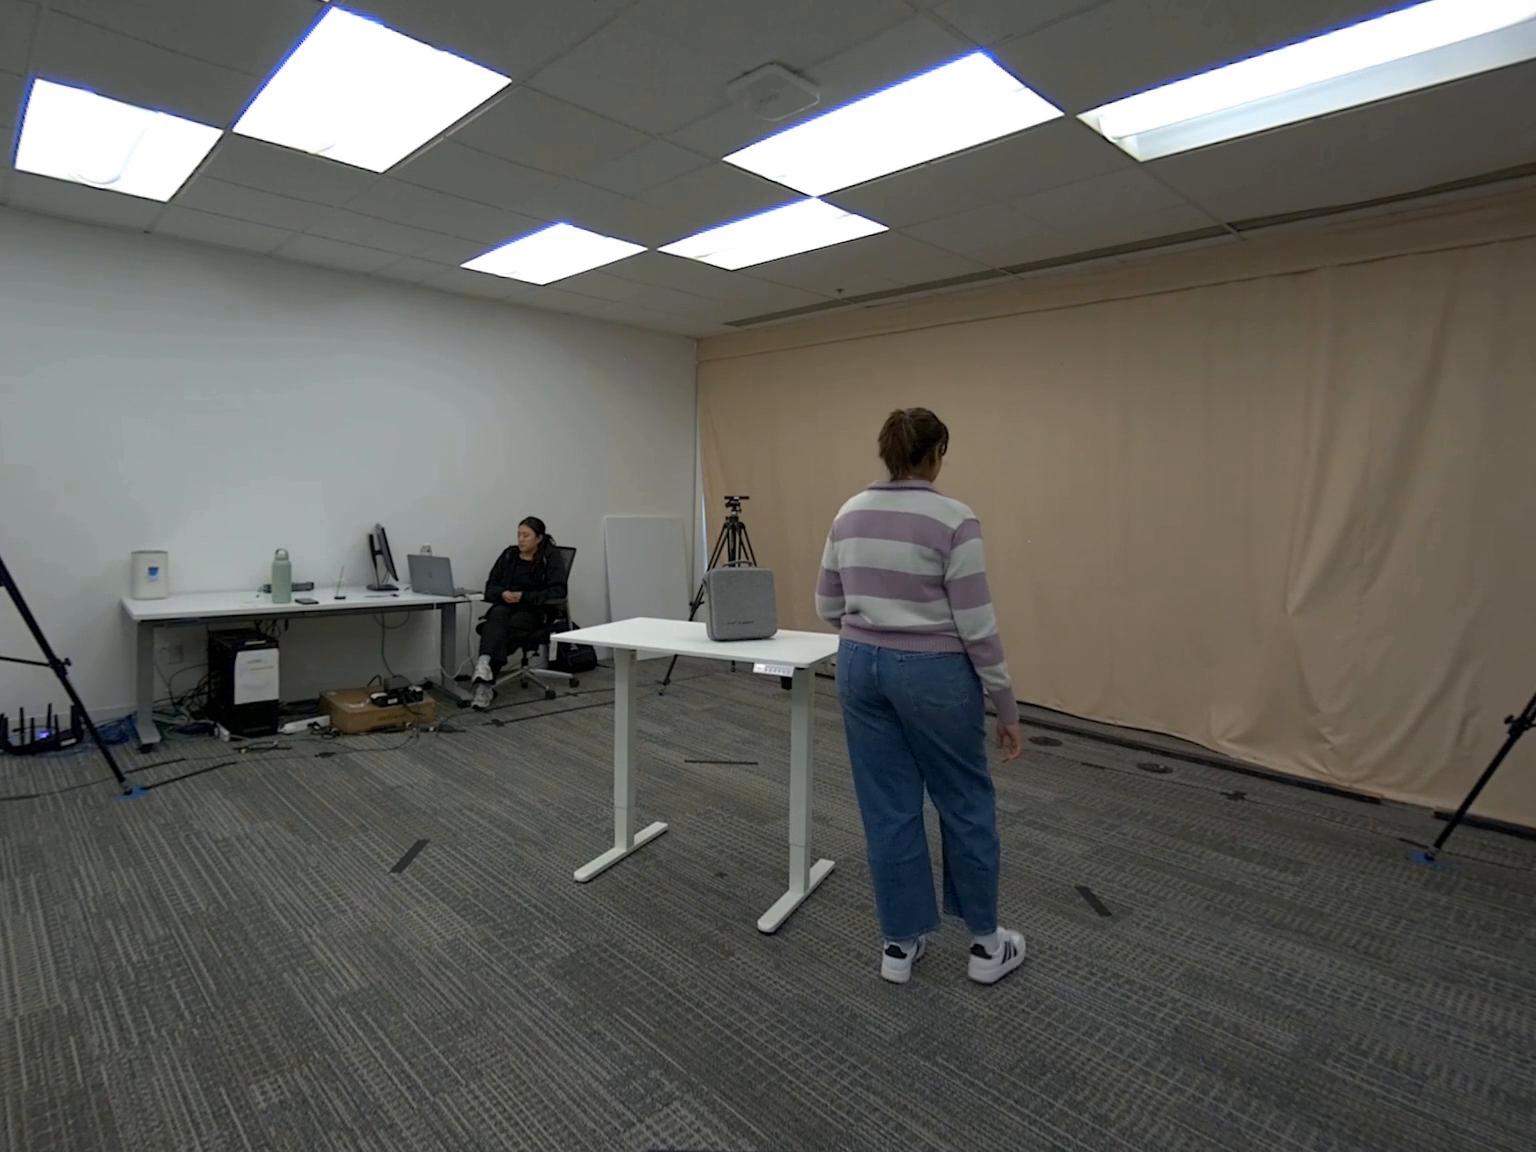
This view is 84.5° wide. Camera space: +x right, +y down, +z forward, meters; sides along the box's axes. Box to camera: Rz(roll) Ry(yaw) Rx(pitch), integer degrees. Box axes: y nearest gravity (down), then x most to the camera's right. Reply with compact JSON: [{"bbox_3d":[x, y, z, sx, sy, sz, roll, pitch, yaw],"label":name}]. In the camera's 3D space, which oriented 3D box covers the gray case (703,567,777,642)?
[{"bbox_3d":[-0.107,0.095,3.027,0.253,0.262,0.105,-1,-8,-22],"label":"gray case"}]
